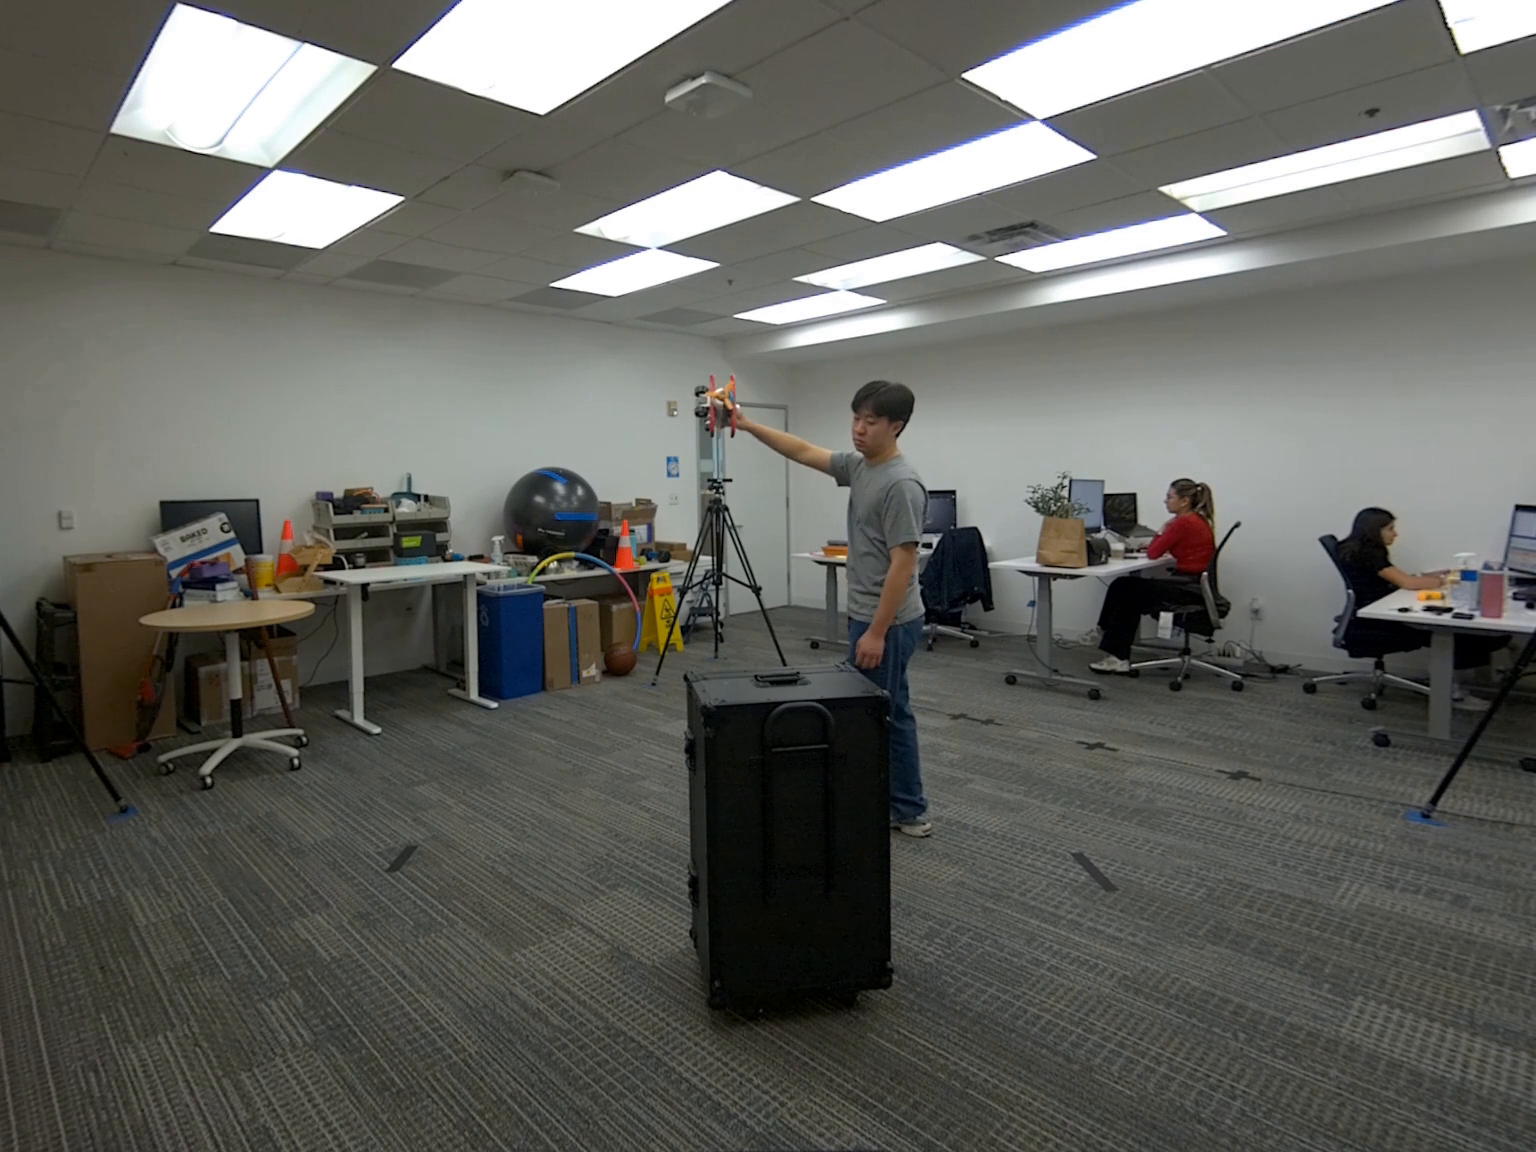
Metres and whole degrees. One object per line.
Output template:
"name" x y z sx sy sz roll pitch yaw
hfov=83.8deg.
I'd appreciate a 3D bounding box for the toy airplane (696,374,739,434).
"toy airplane" -0.171 -0.663 3.294 0.158 0.249 0.259 -3 9 9
